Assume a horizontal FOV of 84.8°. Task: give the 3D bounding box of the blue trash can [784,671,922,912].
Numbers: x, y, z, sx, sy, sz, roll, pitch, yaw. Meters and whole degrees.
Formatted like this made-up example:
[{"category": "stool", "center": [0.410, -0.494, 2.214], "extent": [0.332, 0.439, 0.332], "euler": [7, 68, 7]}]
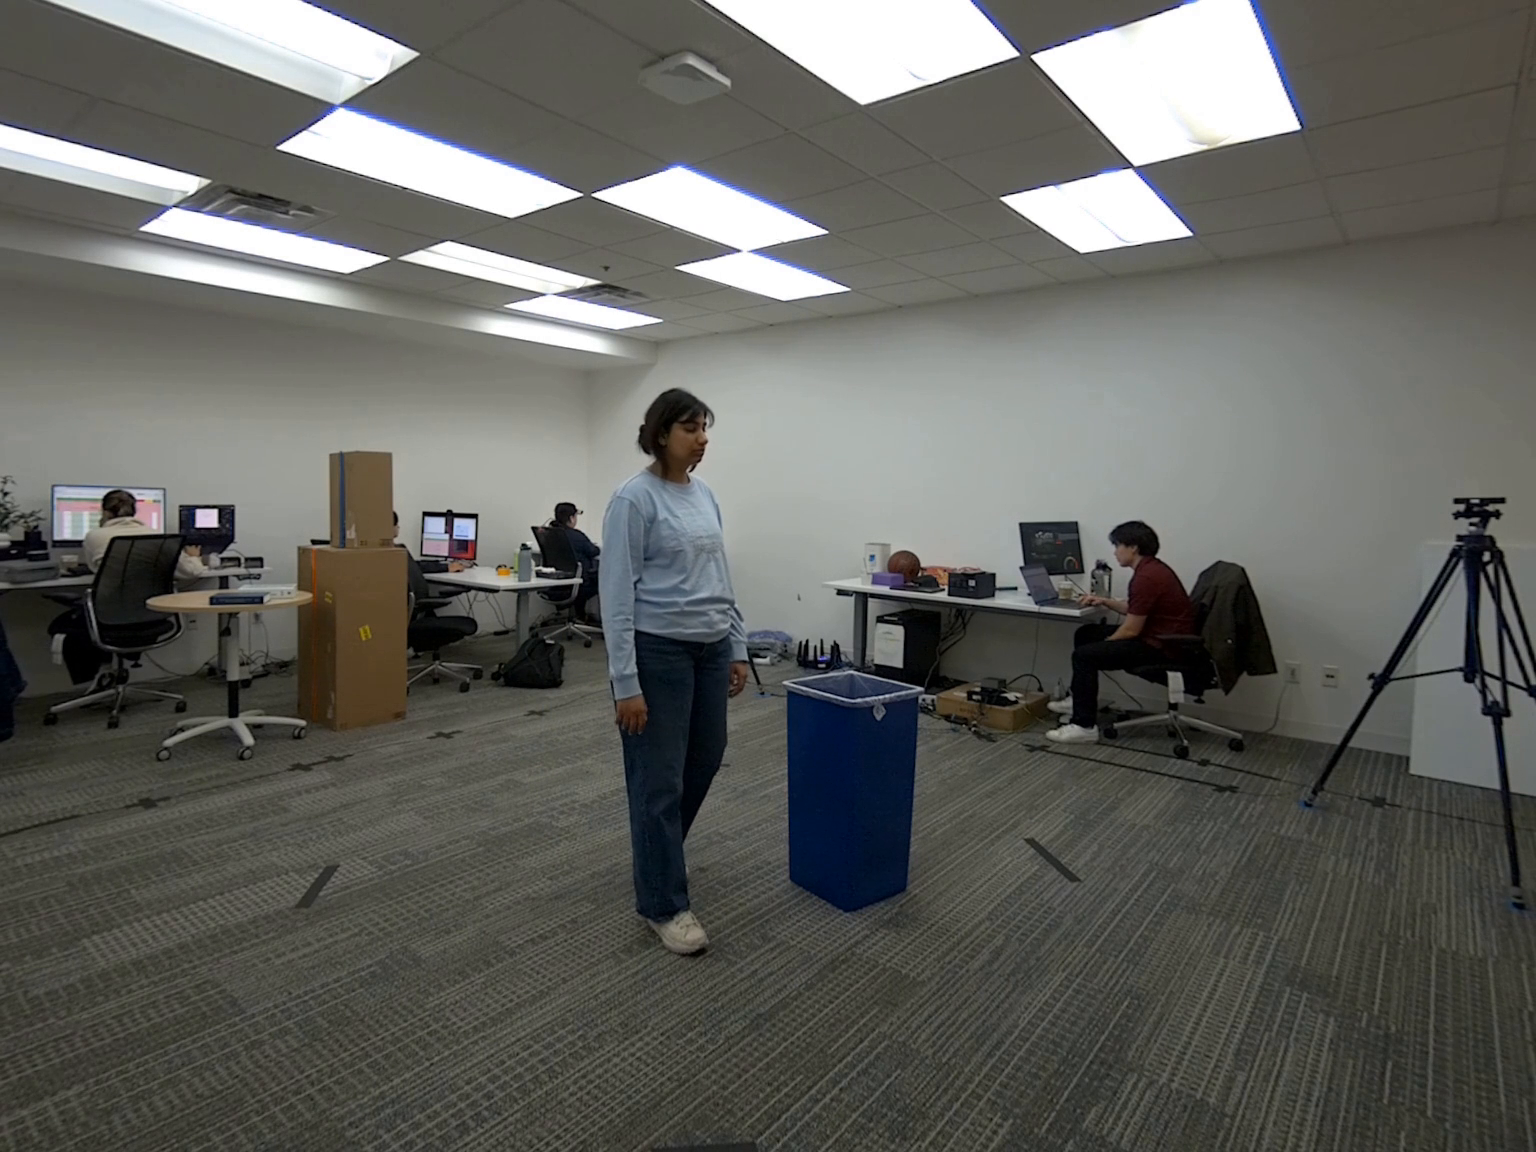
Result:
[{"category": "blue trash can", "center": [0.275, 0.733, 3.002], "extent": [0.366, 0.712, 0.387], "euler": [-1, 4, -39]}]
